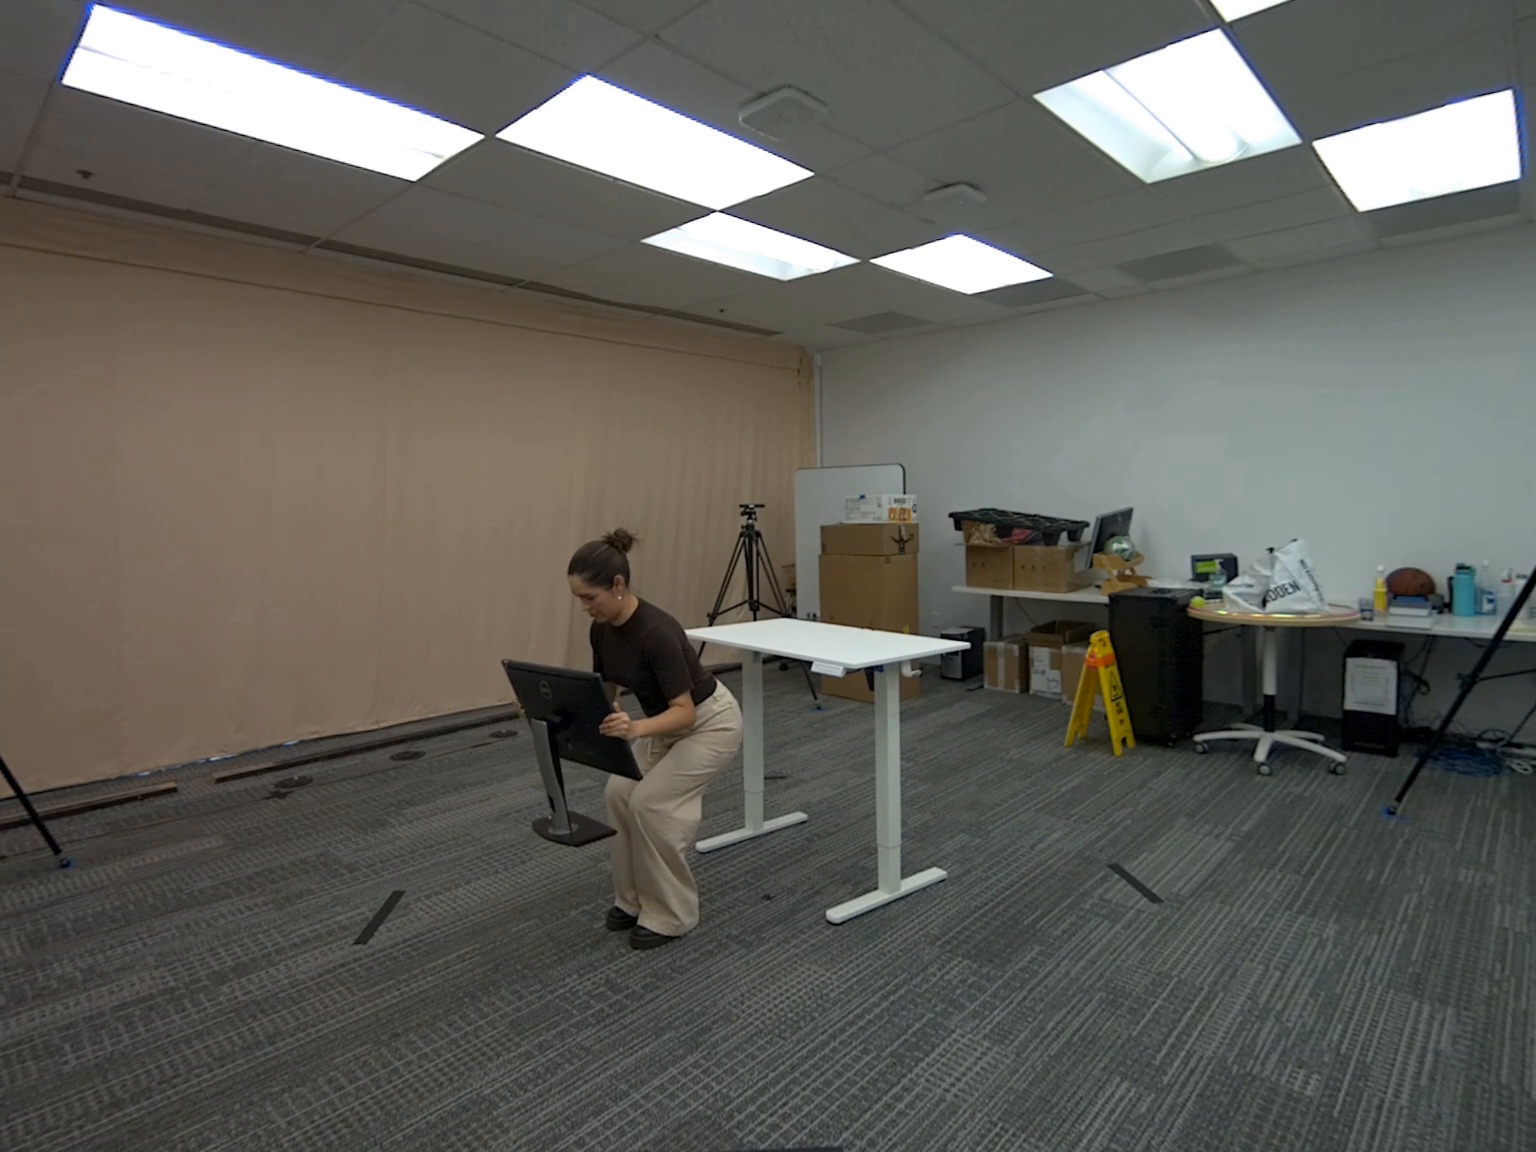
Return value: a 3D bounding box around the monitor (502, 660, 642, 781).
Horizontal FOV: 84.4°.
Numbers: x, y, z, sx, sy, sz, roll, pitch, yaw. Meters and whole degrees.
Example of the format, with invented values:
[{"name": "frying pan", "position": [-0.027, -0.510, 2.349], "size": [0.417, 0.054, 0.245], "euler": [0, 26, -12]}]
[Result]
[{"name": "monitor", "position": [-0.632, 0.537, 2.551], "size": [0.556, 0.520, 0.182], "euler": [0, 8, 44]}]
